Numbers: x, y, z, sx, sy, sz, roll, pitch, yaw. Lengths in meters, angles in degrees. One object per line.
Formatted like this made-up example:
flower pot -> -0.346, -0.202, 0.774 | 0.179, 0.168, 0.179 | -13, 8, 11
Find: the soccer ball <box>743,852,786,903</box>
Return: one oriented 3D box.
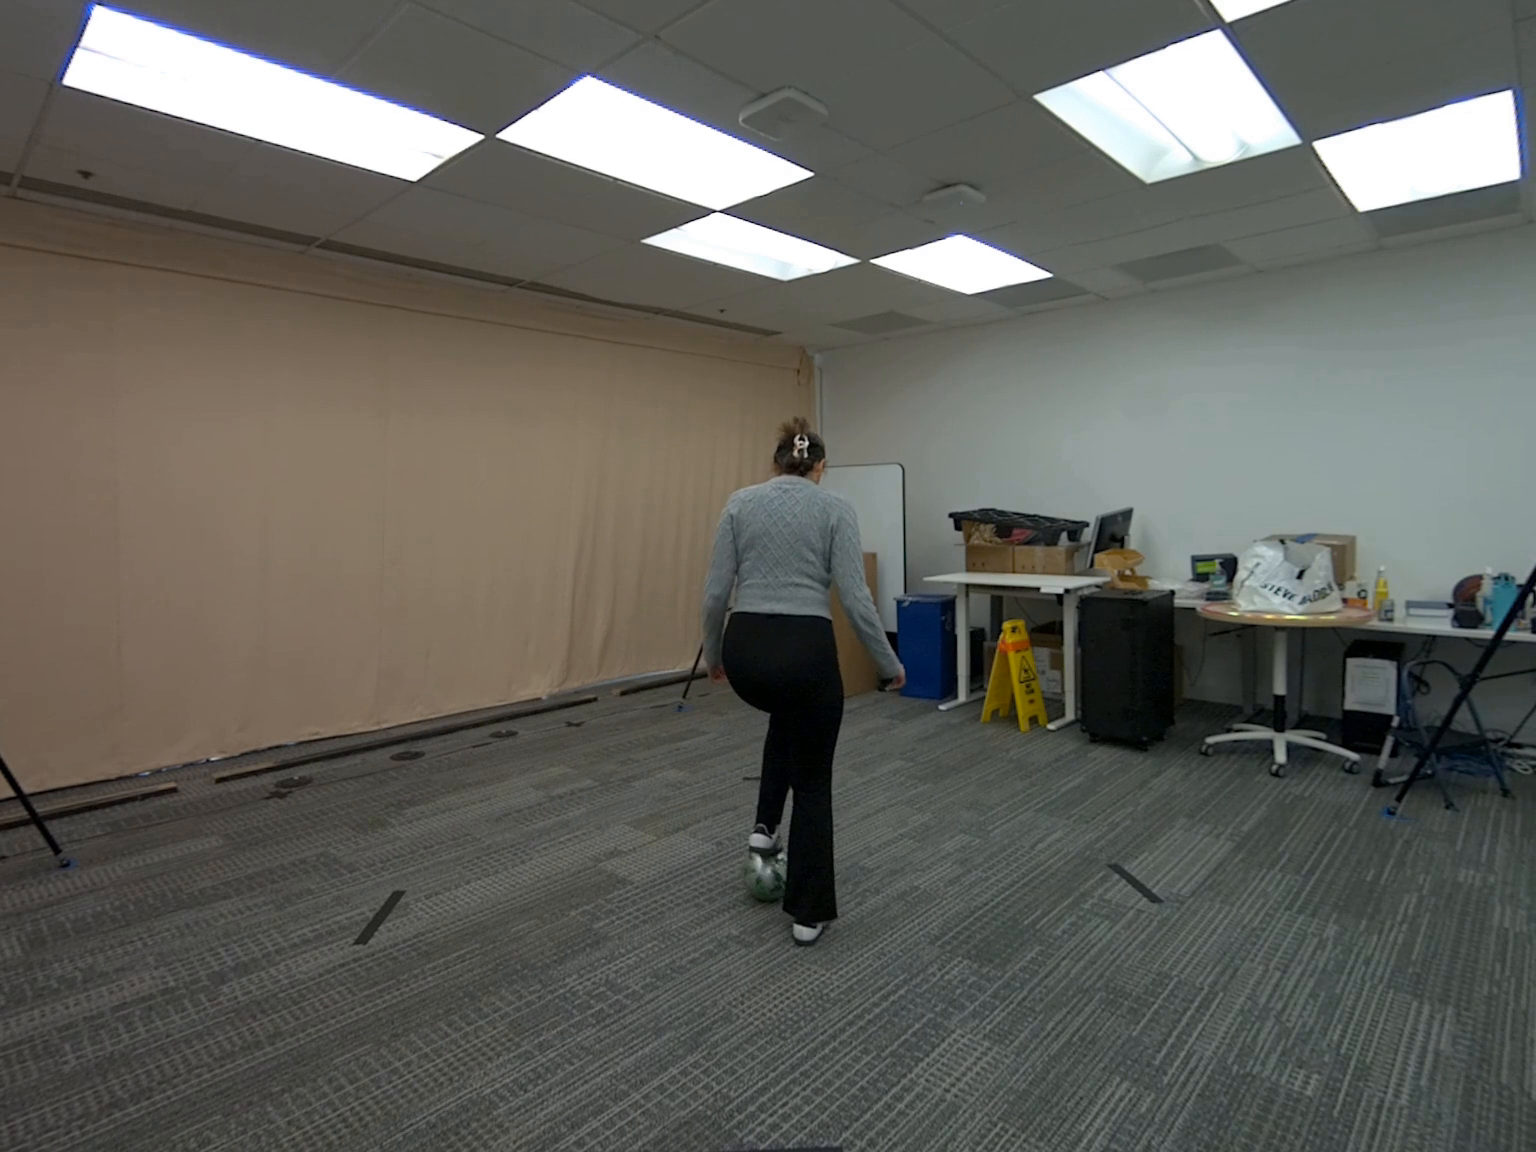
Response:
soccer ball -> 0.013, 1.045, 3.005 | 0.187, 0.187, 0.188 | -1, 4, -2
